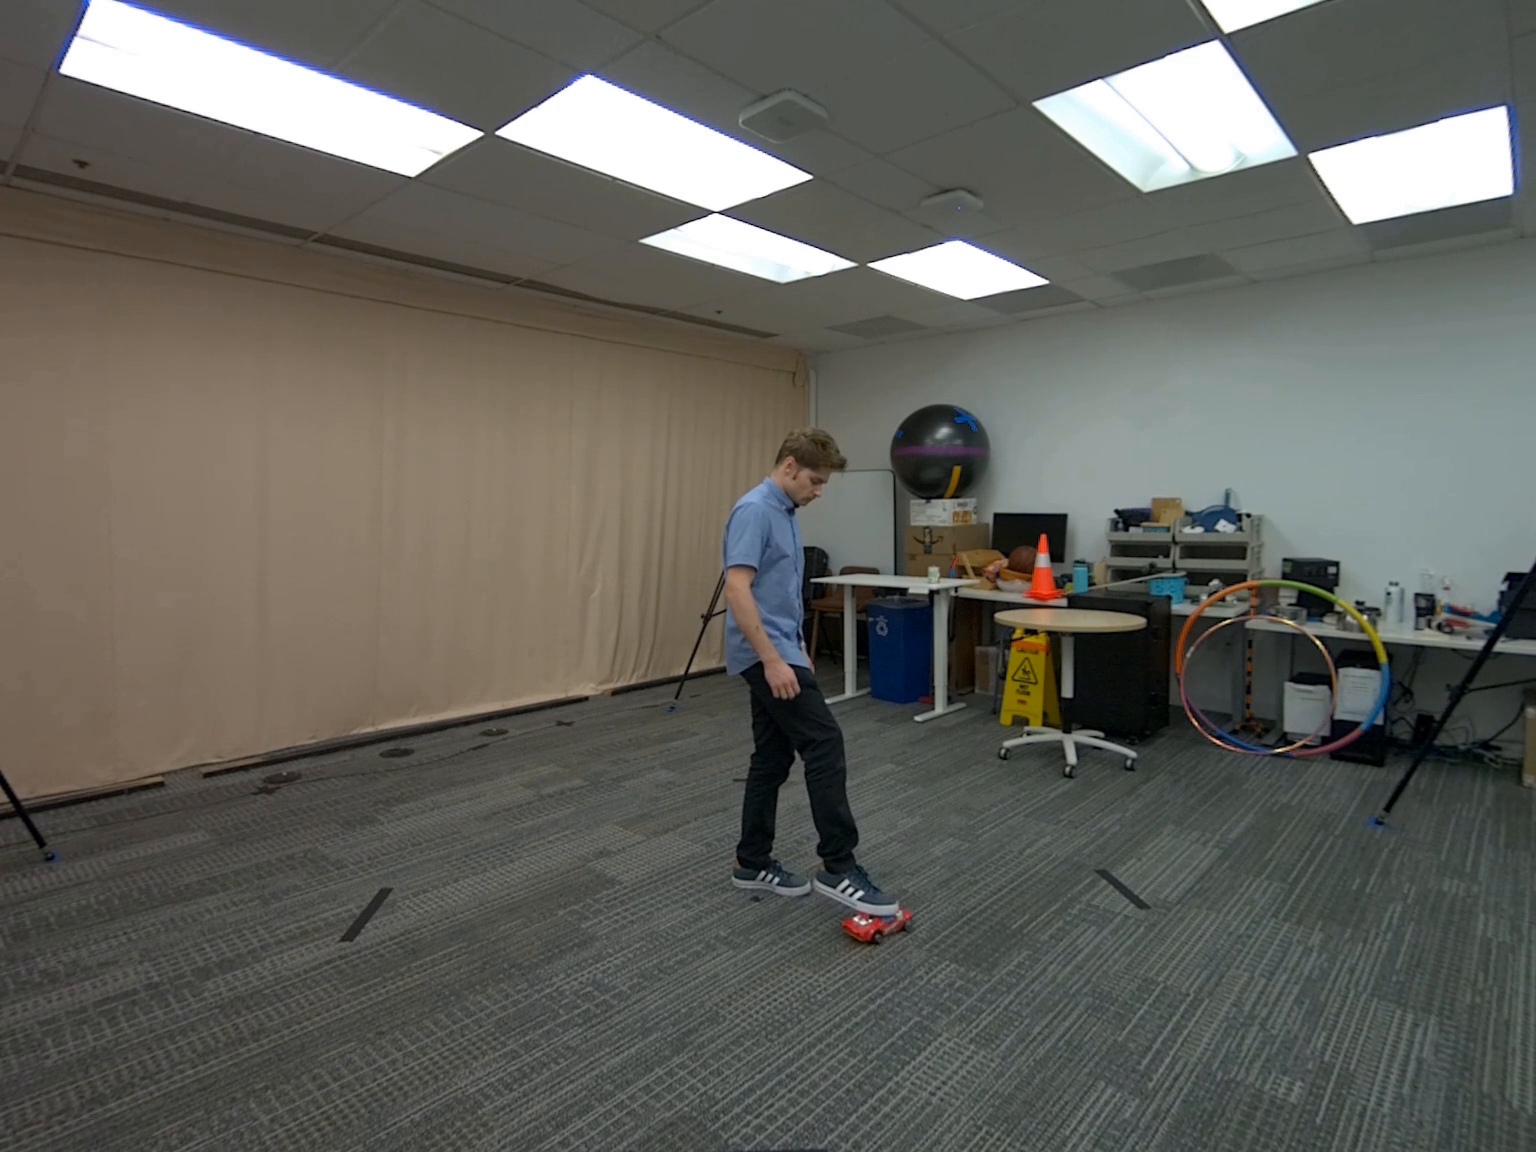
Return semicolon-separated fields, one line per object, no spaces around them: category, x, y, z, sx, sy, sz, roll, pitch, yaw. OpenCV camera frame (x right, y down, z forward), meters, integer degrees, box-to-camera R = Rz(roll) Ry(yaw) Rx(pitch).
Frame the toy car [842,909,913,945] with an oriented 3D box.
toy car;0.352;1.134;2.737;0.246;0.083;0.134;10;-2;-35
